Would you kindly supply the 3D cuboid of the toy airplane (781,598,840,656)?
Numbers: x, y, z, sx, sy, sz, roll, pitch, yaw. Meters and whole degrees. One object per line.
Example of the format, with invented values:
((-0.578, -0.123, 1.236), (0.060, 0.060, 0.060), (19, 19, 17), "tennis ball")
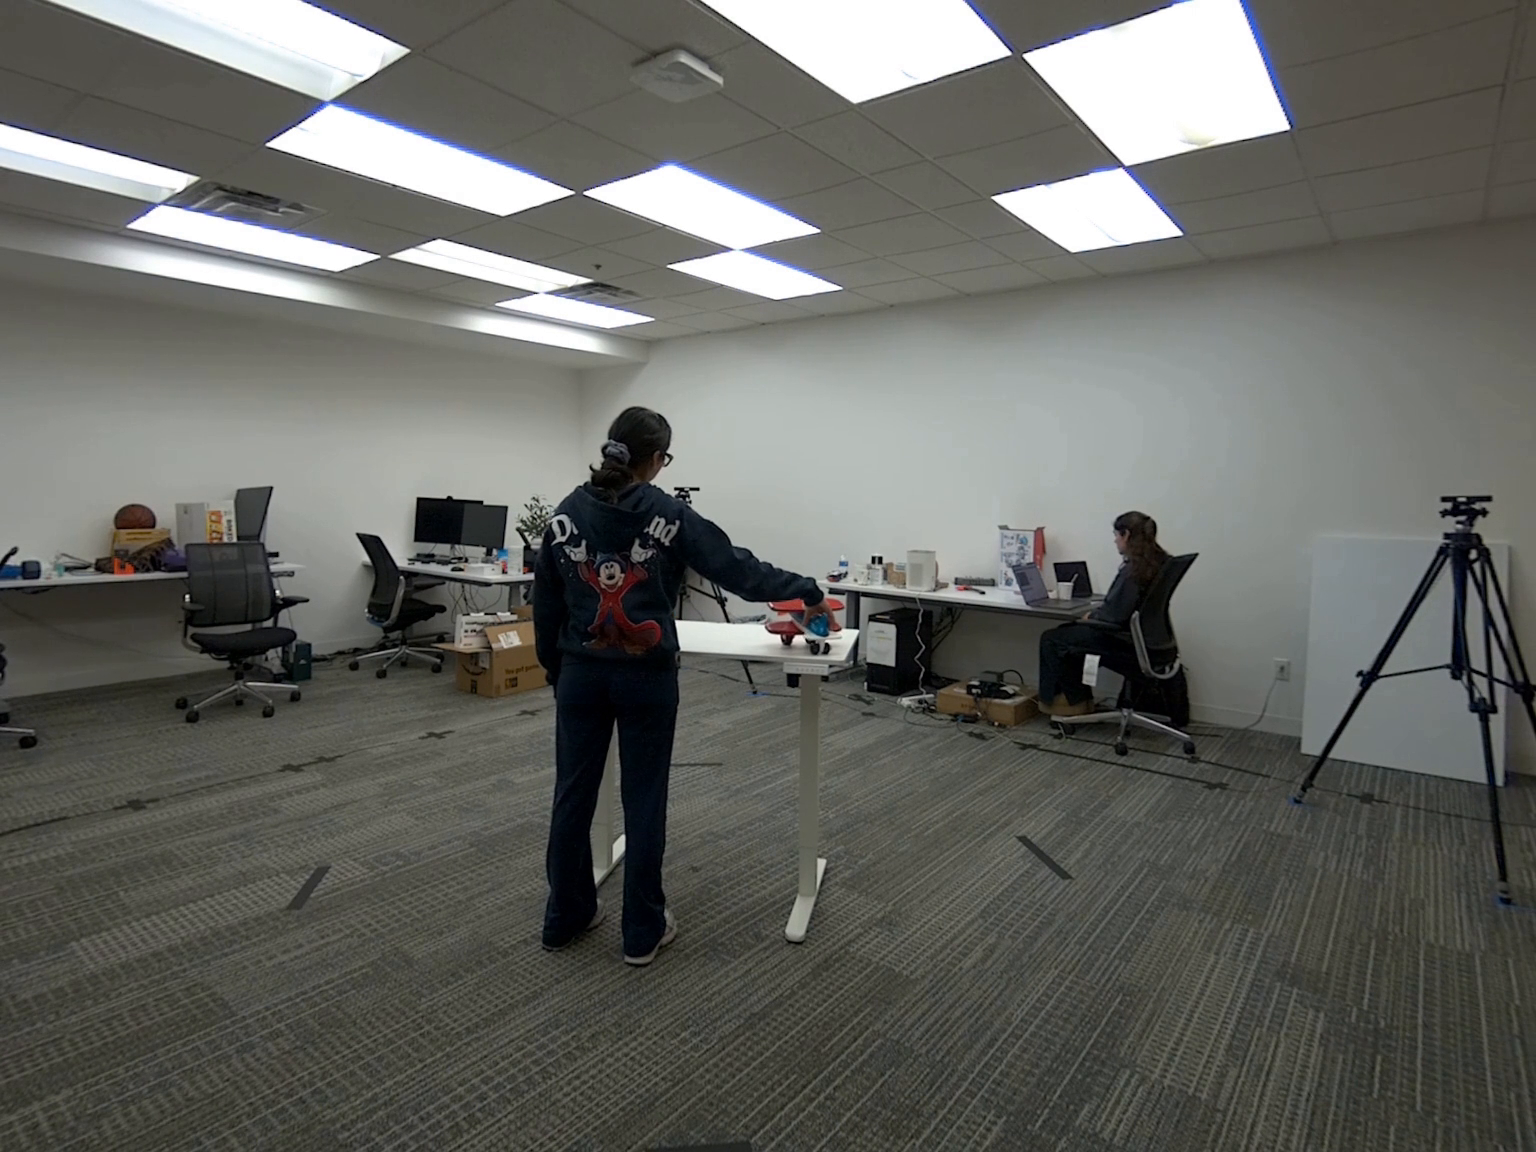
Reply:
((0.146, 0.152, 2.716), (0.268, 0.156, 0.243), (4, 5, 44), "toy airplane")
